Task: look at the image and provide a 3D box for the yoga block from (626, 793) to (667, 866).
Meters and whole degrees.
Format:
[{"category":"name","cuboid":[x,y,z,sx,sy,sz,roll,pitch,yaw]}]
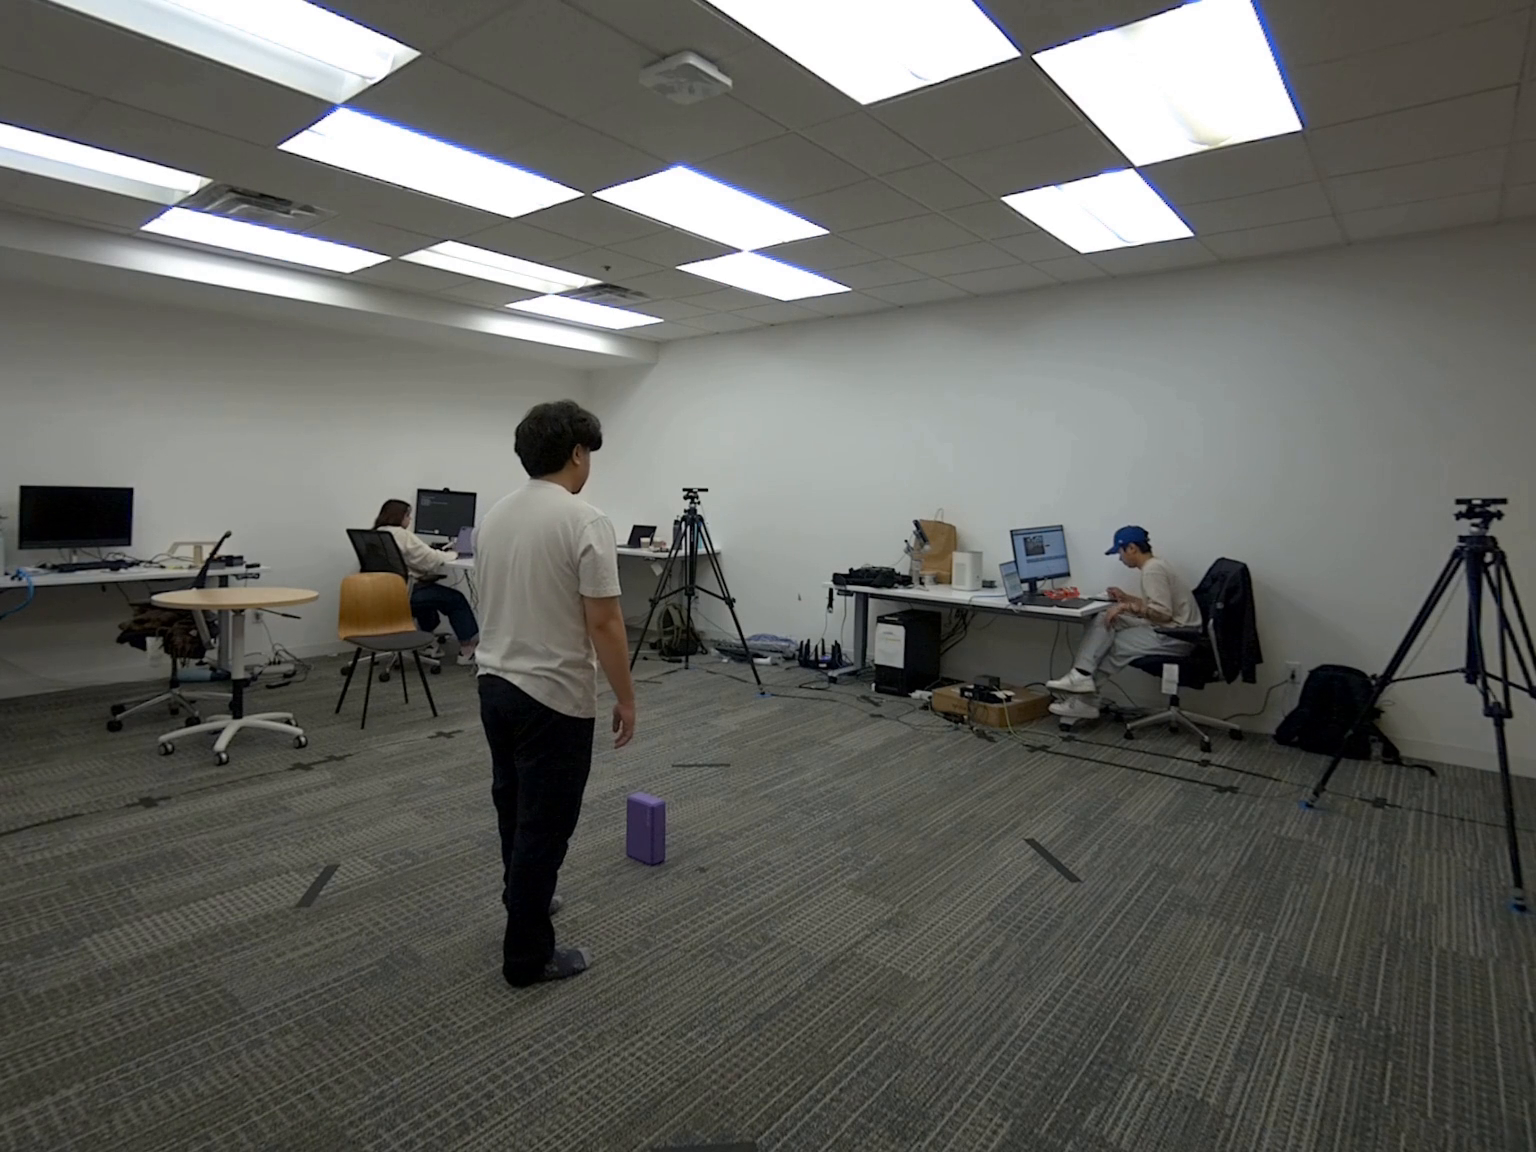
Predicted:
[{"category":"yoga block","cuboid":[-0.472,0.941,3.190,0.154,0.229,0.074,2,3,40]}]
